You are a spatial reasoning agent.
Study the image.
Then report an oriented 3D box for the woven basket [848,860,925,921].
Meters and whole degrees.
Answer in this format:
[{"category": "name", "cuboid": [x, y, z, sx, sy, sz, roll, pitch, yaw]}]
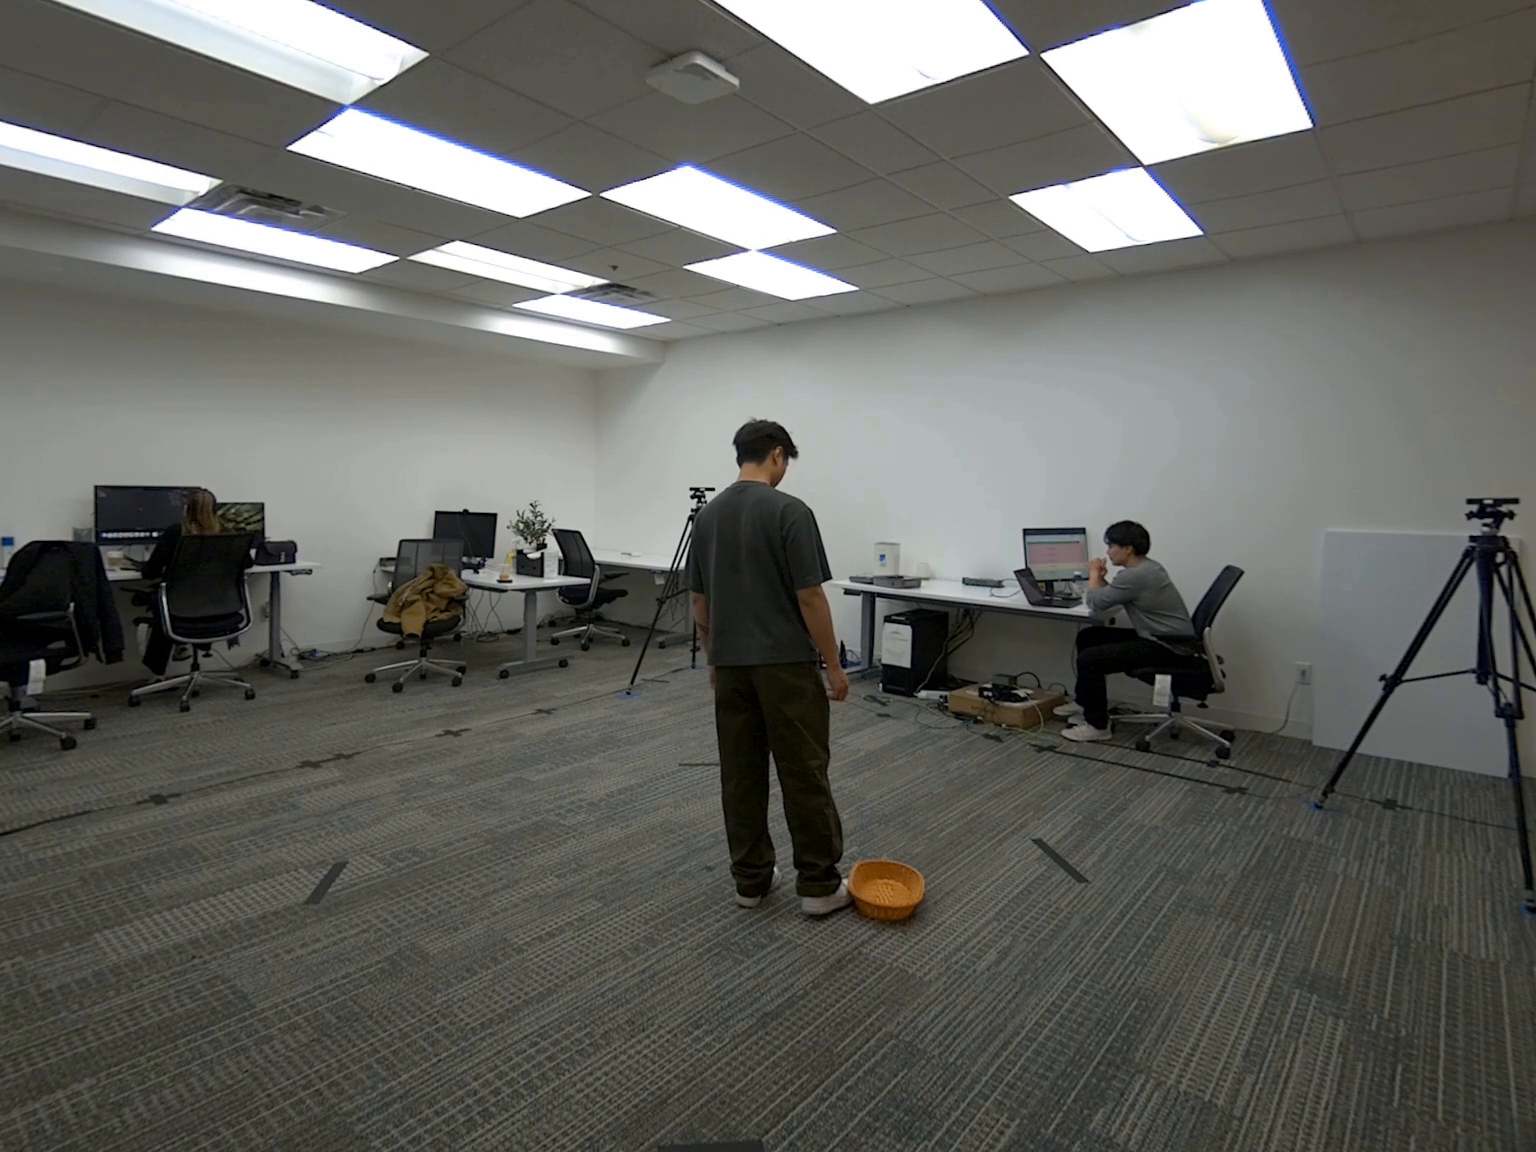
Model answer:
[{"category": "woven basket", "cuboid": [0.393, 1.067, 2.885, 0.257, 0.073, 0.345, 4, 6, 16]}]
